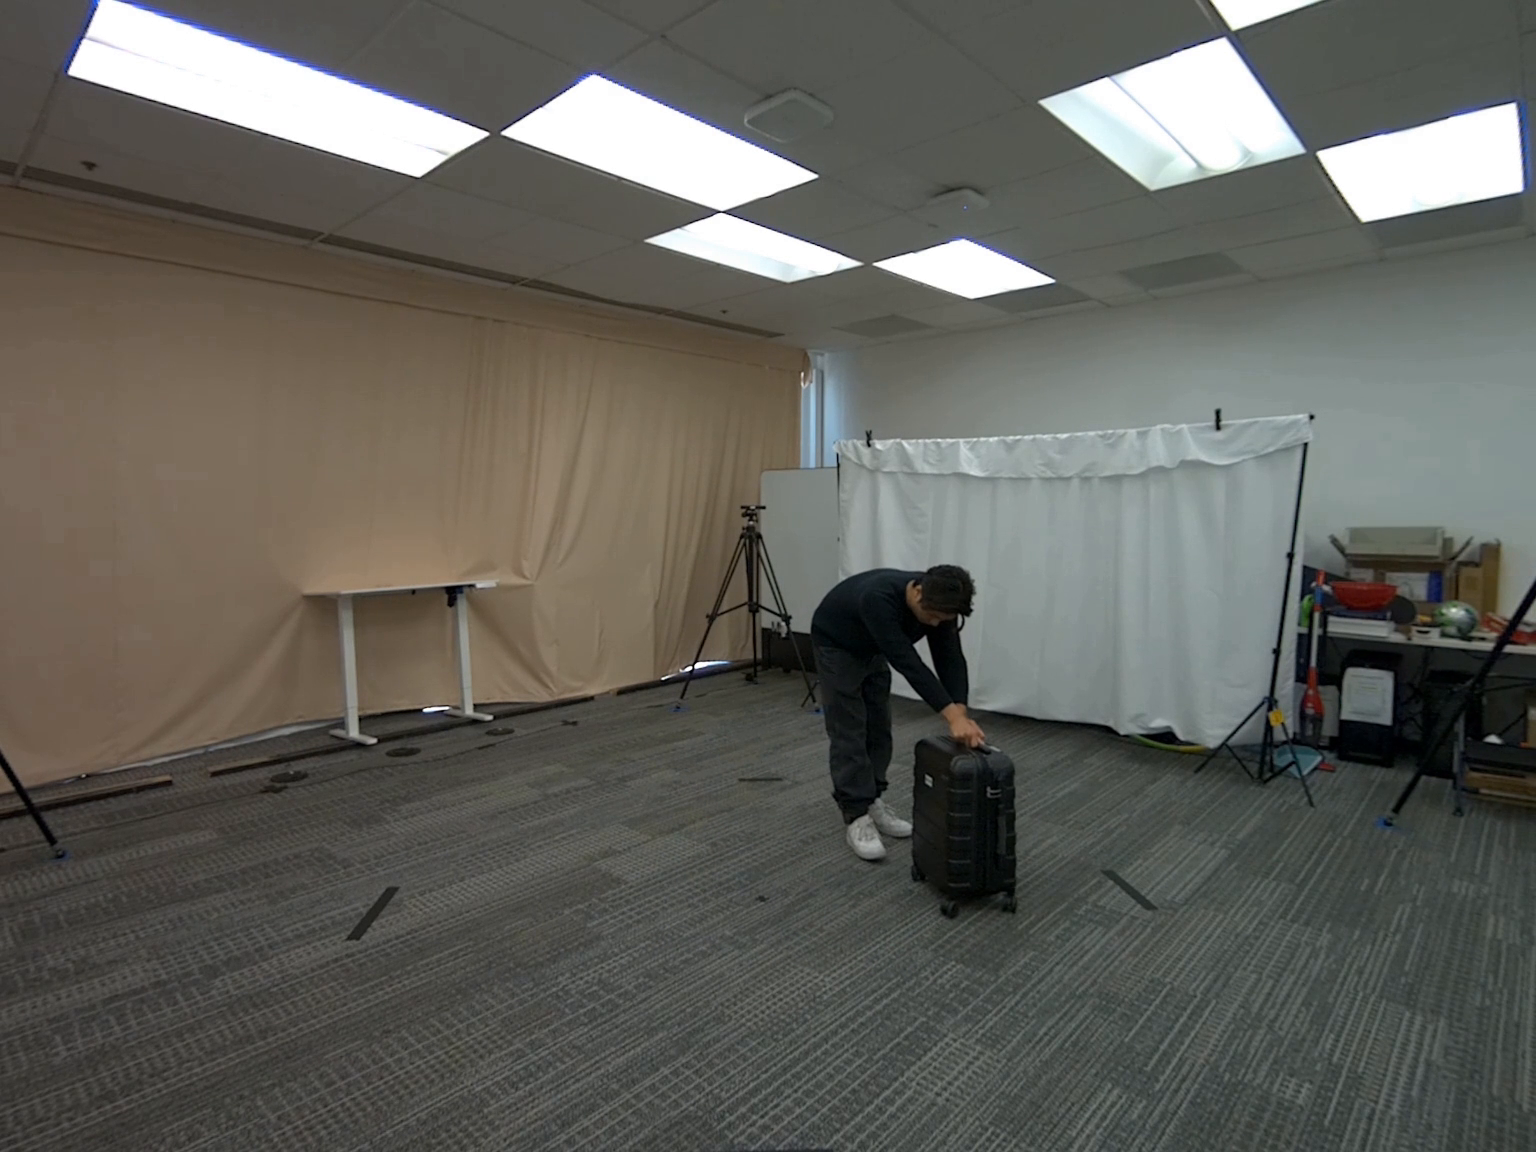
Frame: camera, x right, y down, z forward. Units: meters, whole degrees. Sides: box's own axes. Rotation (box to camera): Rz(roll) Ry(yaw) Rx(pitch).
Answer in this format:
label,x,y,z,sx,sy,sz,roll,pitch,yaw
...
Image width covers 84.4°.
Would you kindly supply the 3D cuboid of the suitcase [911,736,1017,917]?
label,x,y,z,sx,sy,sz,roll,pitch,yaw
suitcase,0.708,0.867,3.013,0.245,0.549,0.381,-1,2,-14
